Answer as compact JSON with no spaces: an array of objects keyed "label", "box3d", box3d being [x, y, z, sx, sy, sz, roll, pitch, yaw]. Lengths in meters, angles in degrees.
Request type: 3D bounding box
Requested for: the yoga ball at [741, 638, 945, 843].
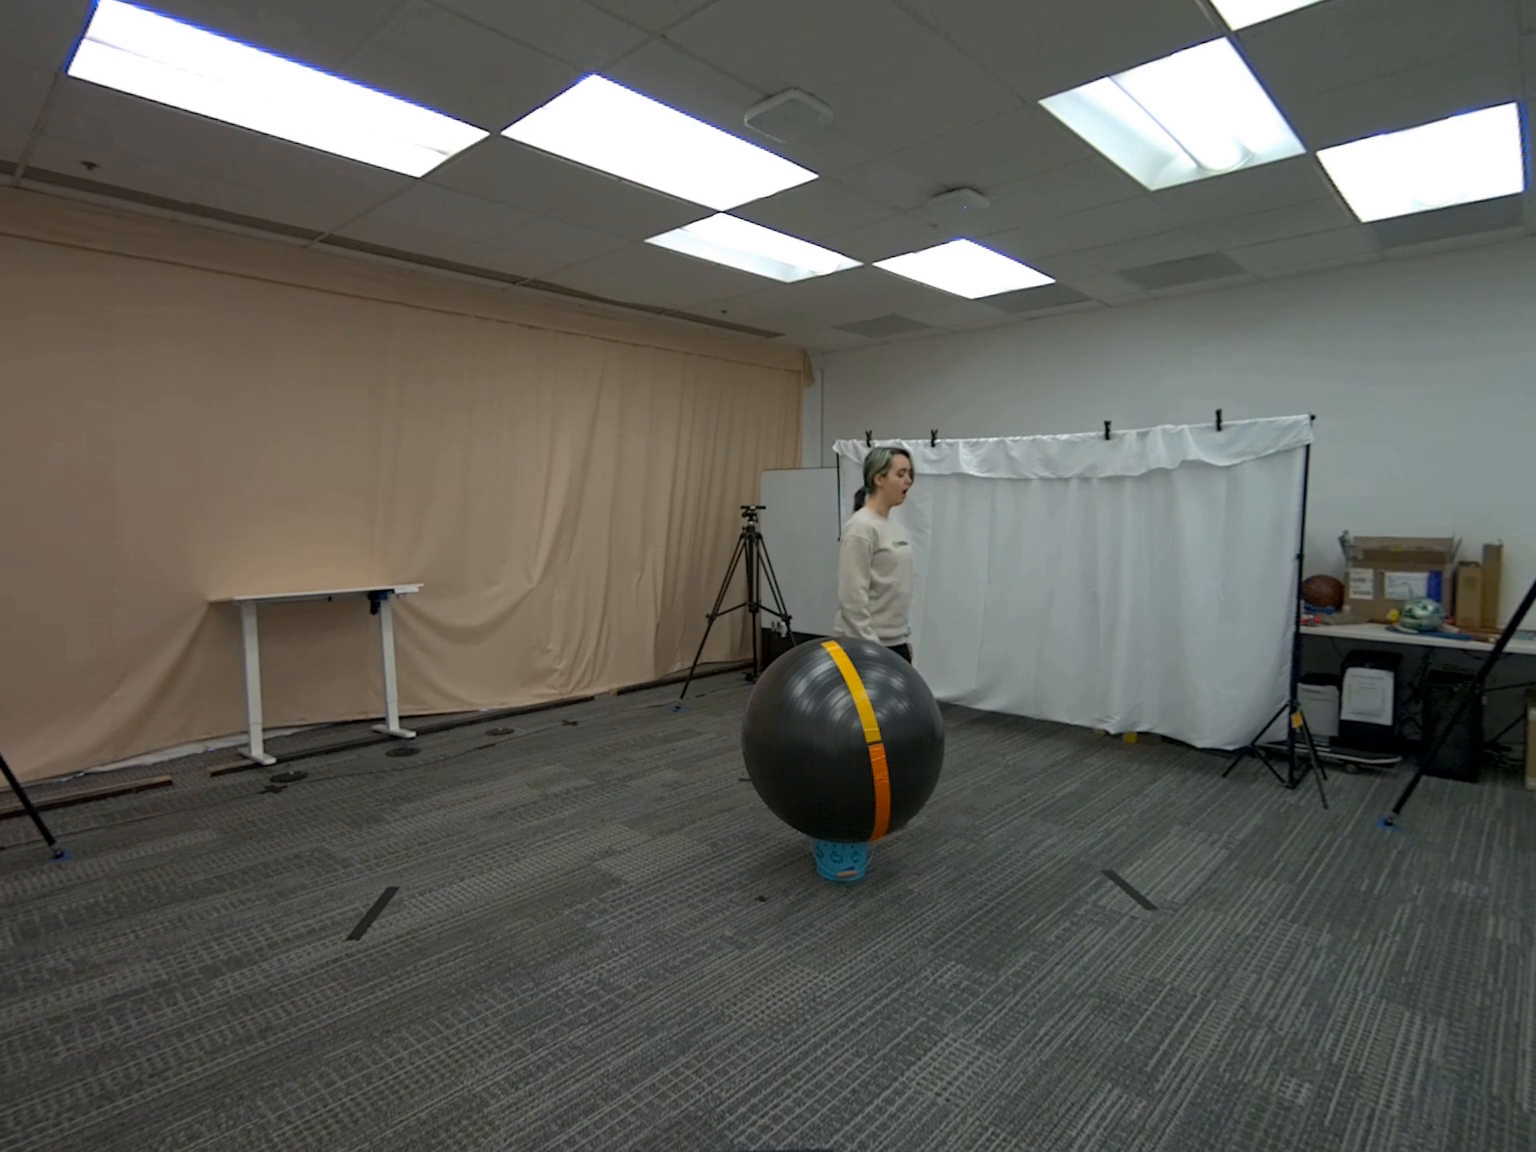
[{"label":"yoga ball","box3d":[0.281,0.614,3.185,0.757,0.756,0.760,0,4,-2]}]
